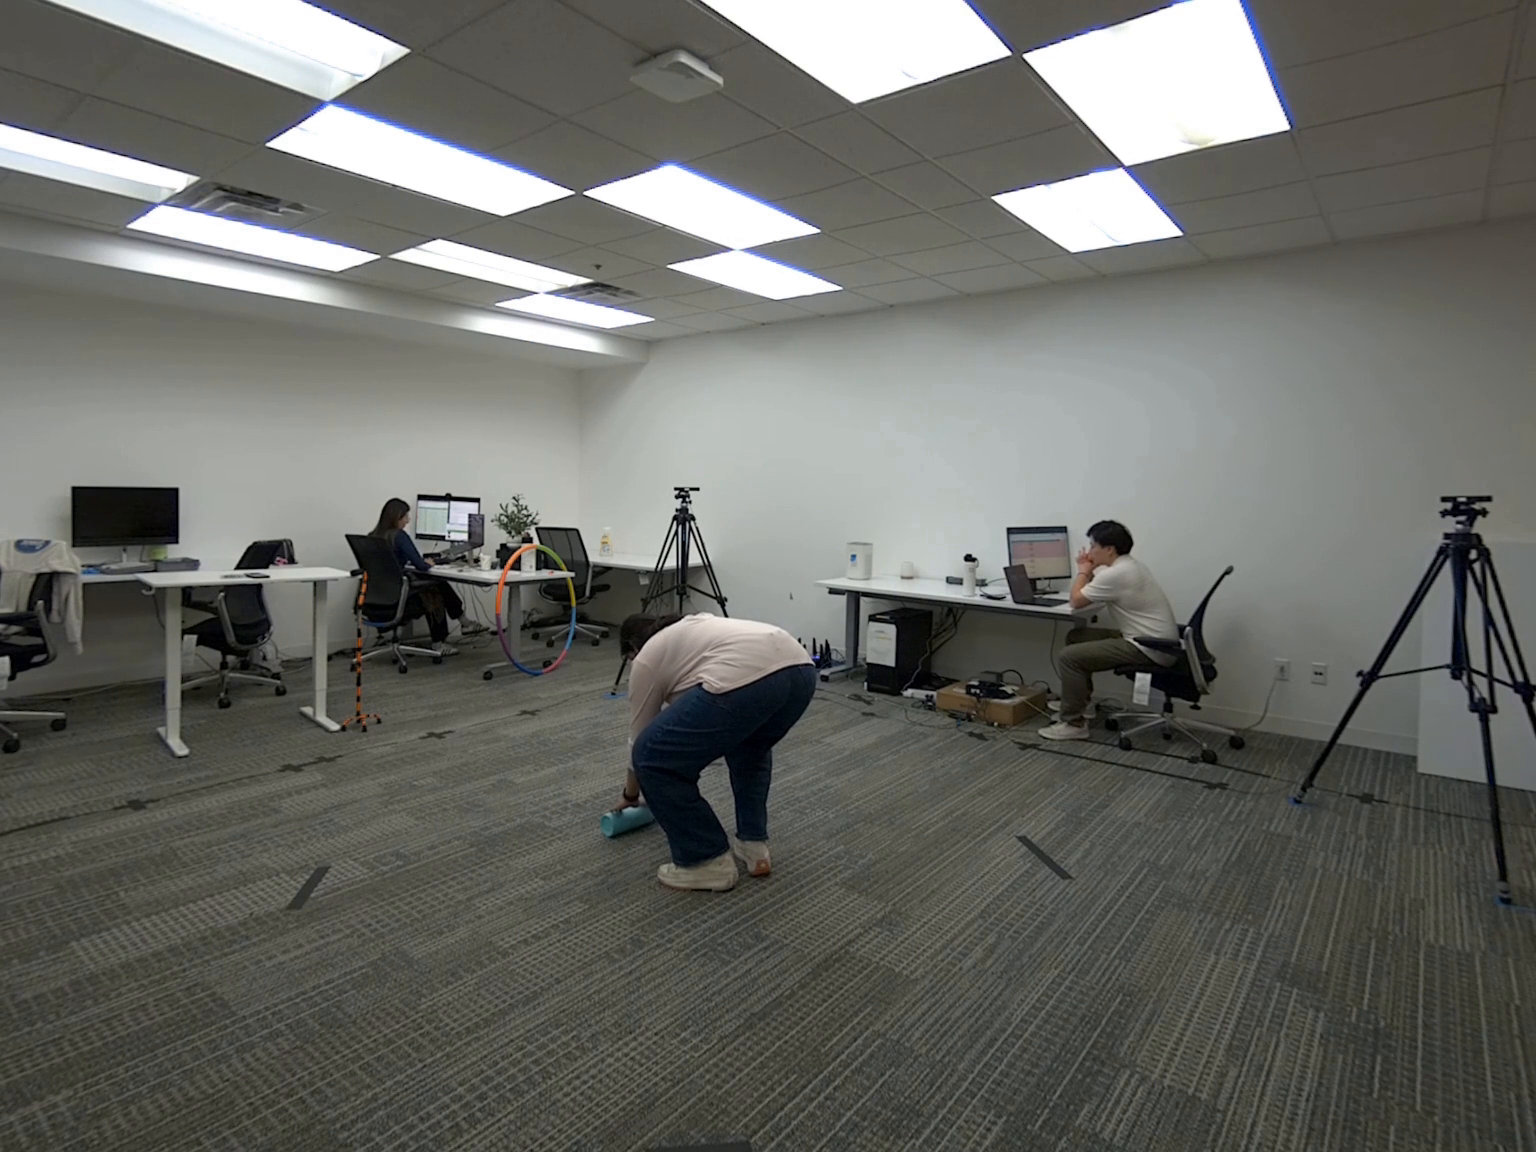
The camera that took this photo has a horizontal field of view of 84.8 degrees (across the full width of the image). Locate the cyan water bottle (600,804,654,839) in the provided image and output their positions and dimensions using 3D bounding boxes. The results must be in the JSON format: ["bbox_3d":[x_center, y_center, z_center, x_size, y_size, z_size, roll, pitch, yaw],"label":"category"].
[{"bbox_3d":[-0.557,0.978,3.469,0.095,0.092,0.275,5,6,43],"label":"cyan water bottle"}]
